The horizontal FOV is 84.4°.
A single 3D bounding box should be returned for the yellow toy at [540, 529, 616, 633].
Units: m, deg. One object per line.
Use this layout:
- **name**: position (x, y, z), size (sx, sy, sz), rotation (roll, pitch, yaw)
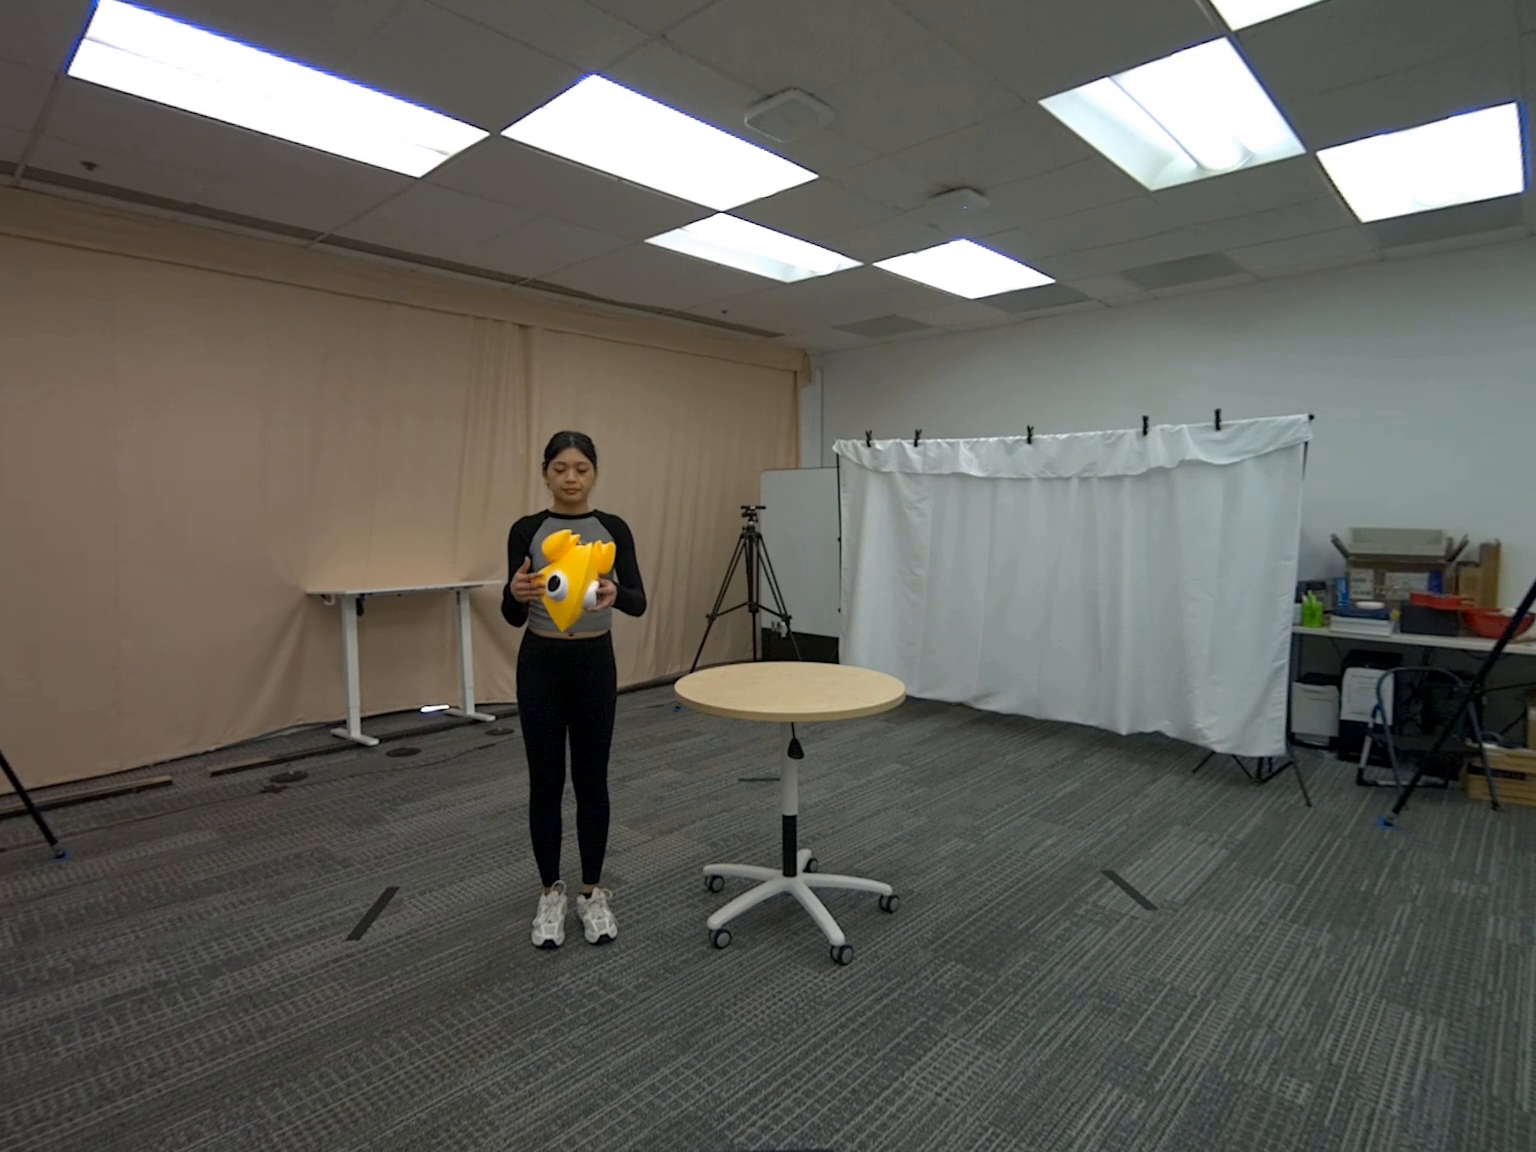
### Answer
- **yellow toy**: position (-0.533, 0.028, 2.324), size (0.198, 0.234, 0.196), rotation (18, -34, -30)
